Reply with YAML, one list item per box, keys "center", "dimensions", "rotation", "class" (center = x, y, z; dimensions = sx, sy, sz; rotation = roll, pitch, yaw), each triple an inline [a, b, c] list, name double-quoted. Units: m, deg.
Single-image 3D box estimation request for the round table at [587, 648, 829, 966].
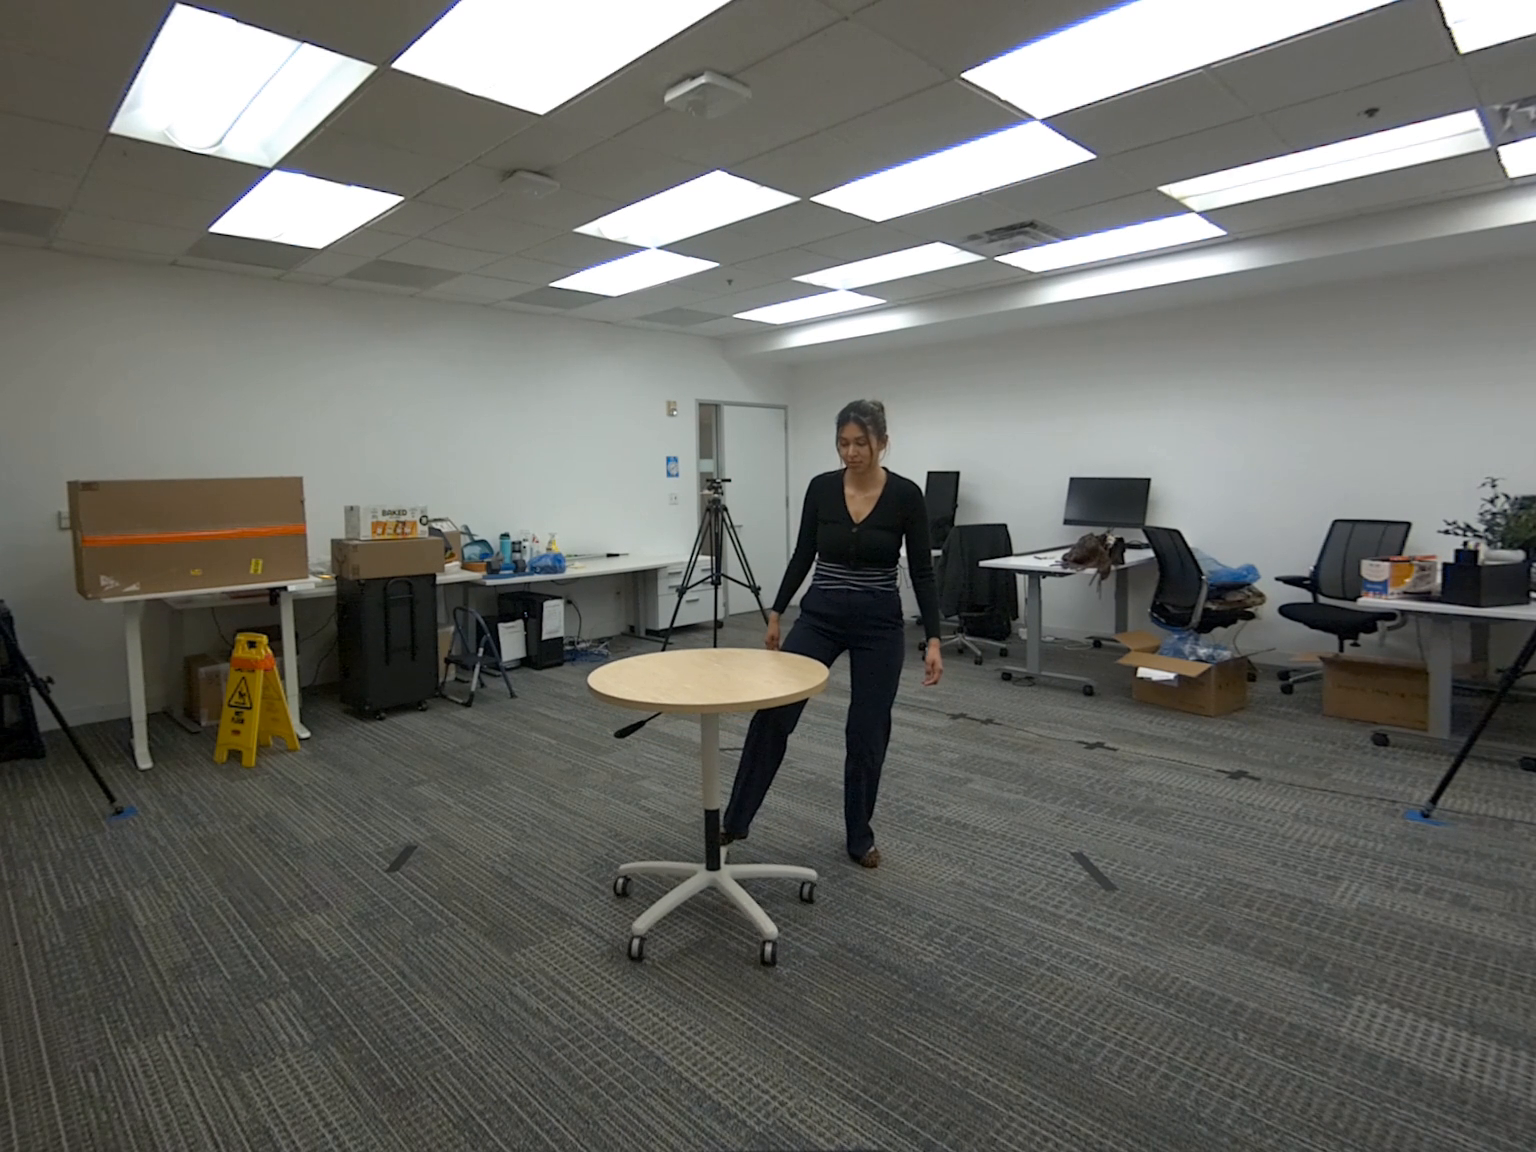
- center: [-0.176, 0.704, 2.736]
  dimensions: [0.763, 0.791, 0.768]
  rotation: [-2, 5, -2]
  class: "round table"
